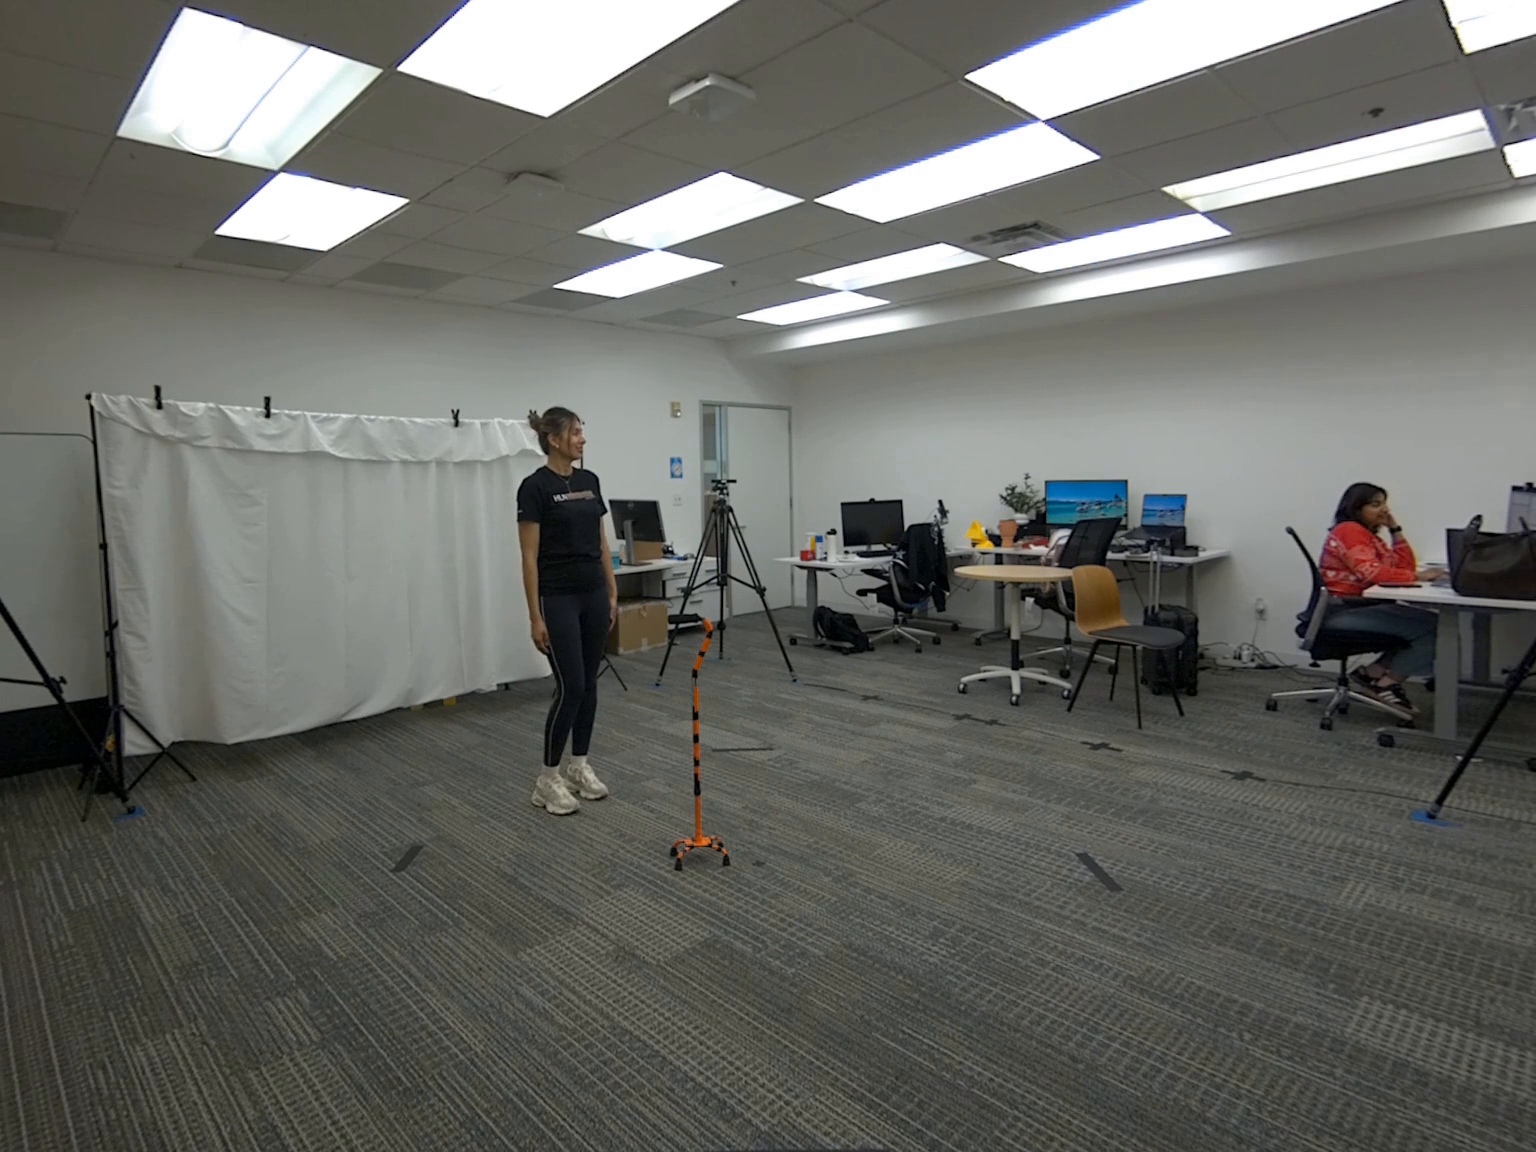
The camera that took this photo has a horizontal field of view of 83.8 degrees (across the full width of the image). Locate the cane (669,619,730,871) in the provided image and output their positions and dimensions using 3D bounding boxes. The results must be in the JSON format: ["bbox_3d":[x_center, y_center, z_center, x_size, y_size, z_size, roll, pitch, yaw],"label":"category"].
[{"bbox_3d":[-0.258,0.596,3.125,0.204,0.905,0.154,-2,3,-13],"label":"cane"}]
